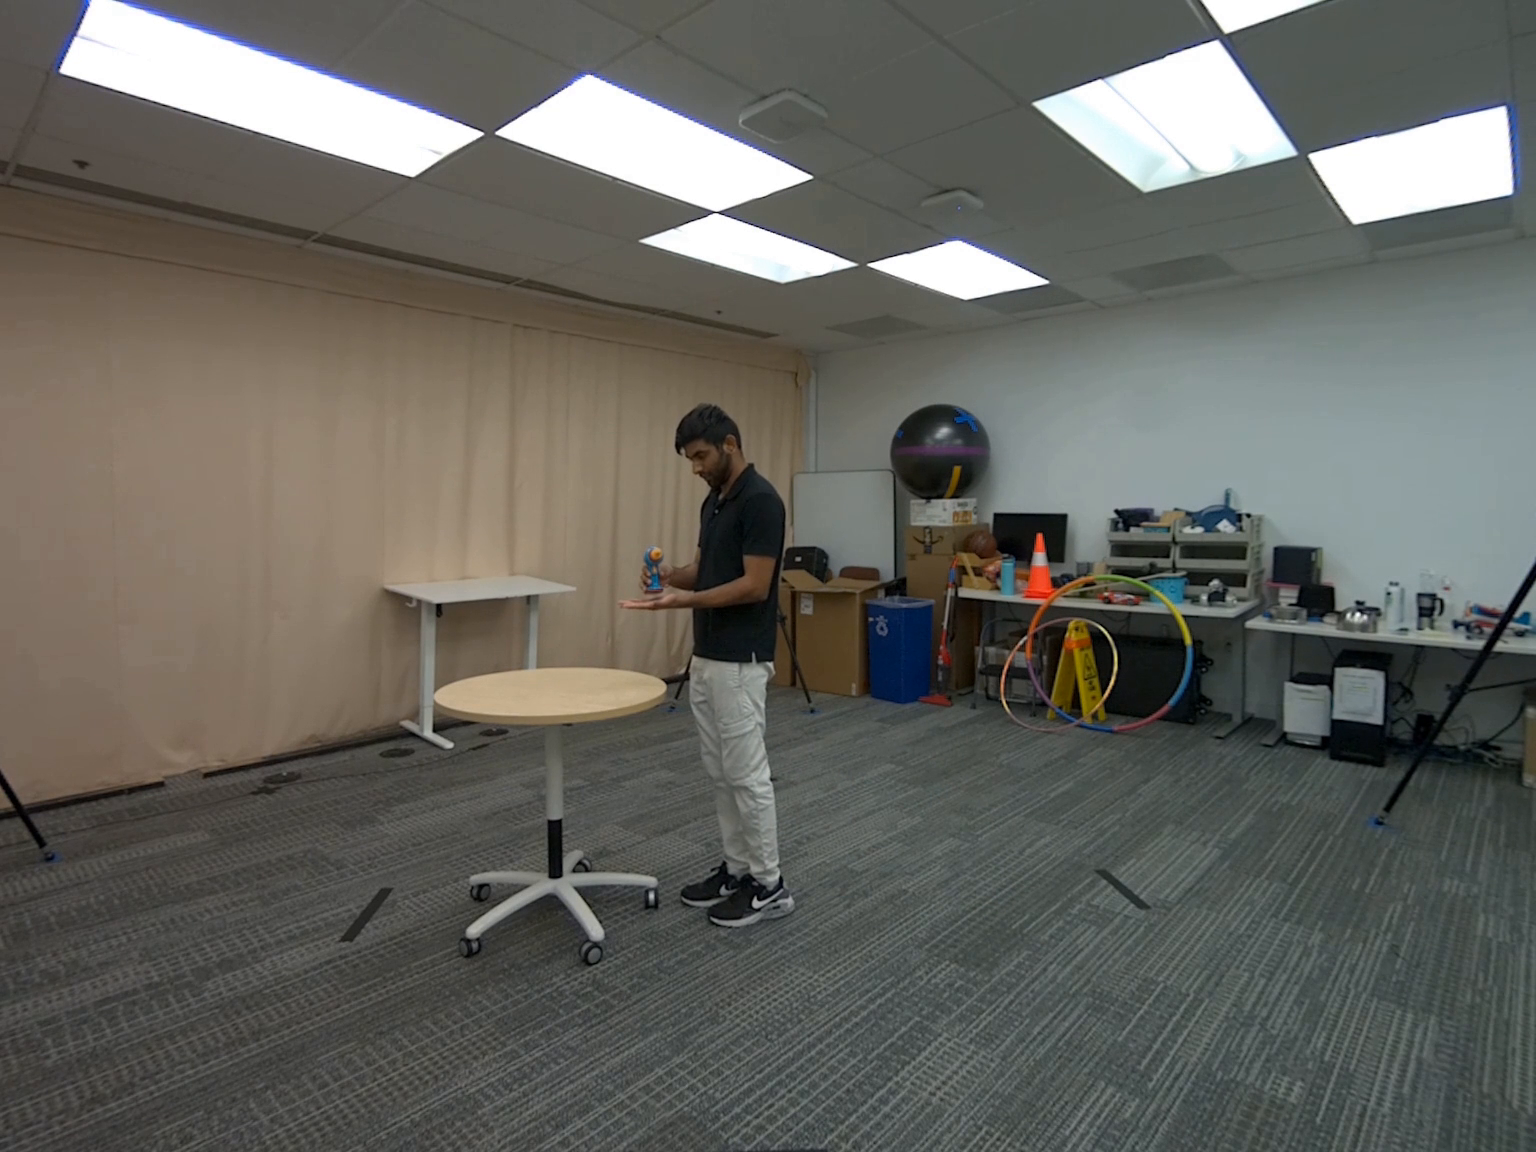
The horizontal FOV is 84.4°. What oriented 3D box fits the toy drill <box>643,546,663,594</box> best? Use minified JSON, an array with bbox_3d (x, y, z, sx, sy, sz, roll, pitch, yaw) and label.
[{"bbox_3d":[-0.355,-0.023,2.674,0.060,0.147,0.172,0,-8,-20],"label":"toy drill"}]
